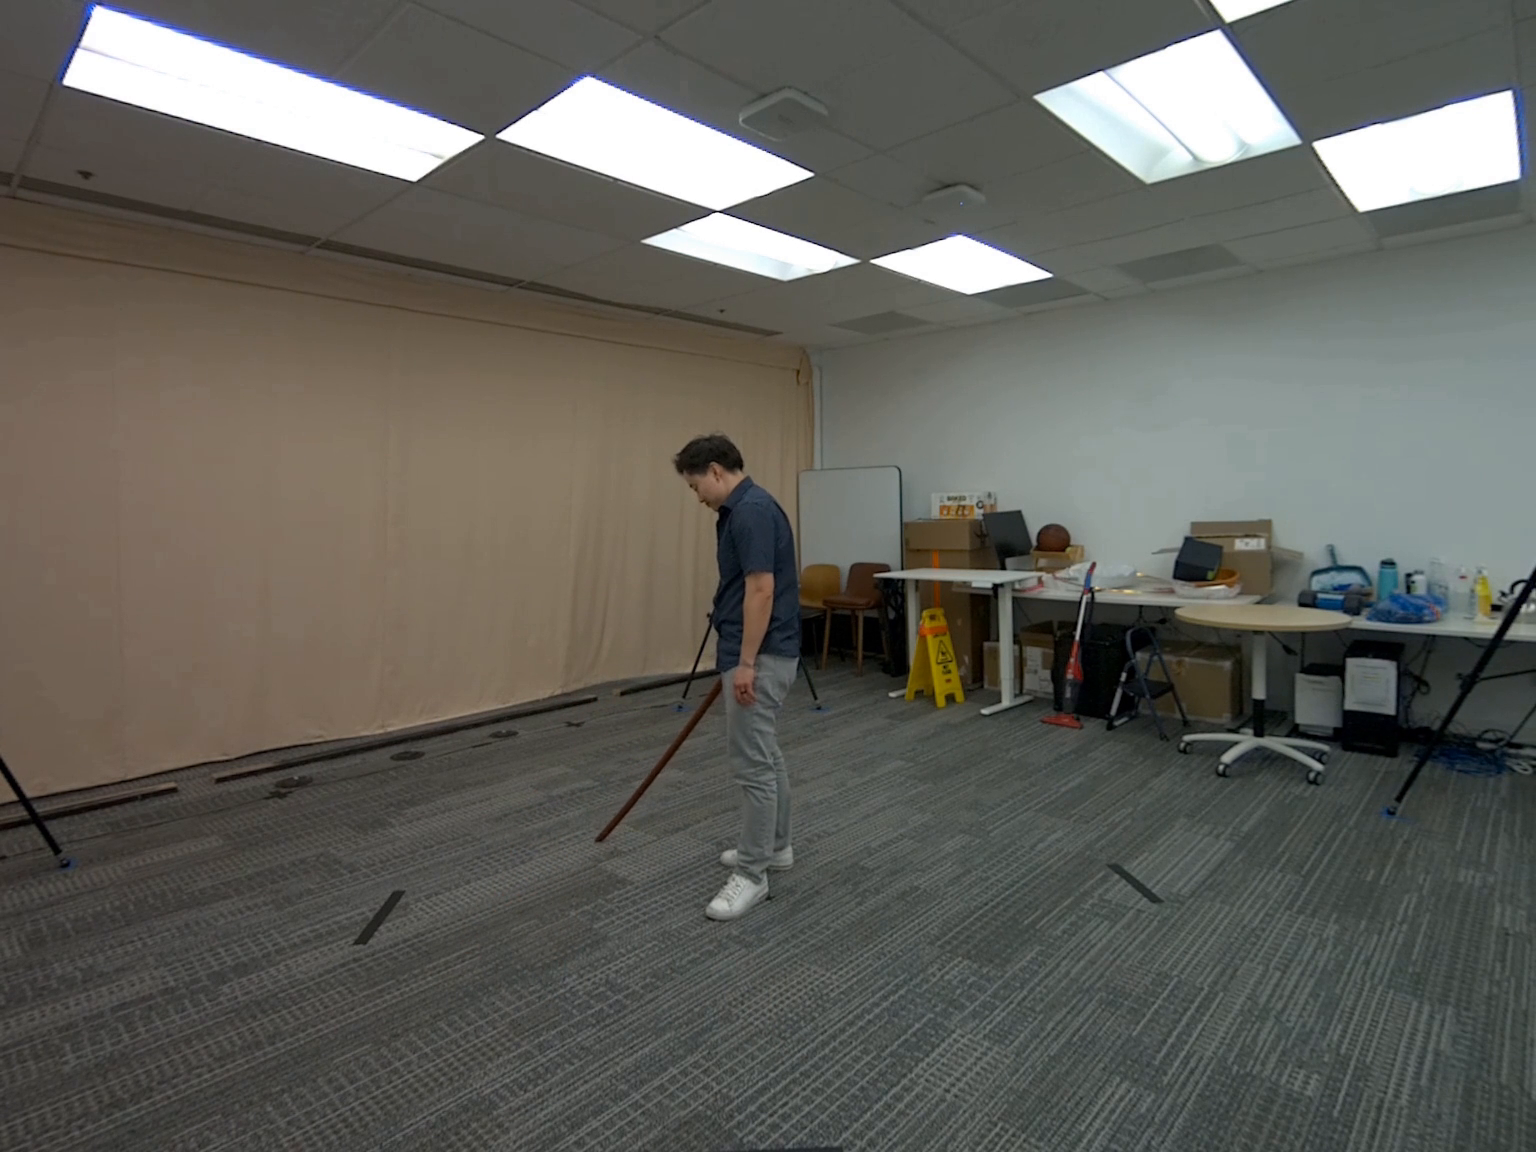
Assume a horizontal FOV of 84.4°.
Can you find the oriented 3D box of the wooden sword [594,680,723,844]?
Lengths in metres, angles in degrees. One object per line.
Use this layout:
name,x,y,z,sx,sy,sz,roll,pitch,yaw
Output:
wooden sword,-0.414,0.724,3.448,0.050,1.026,0.025,33,8,-30
